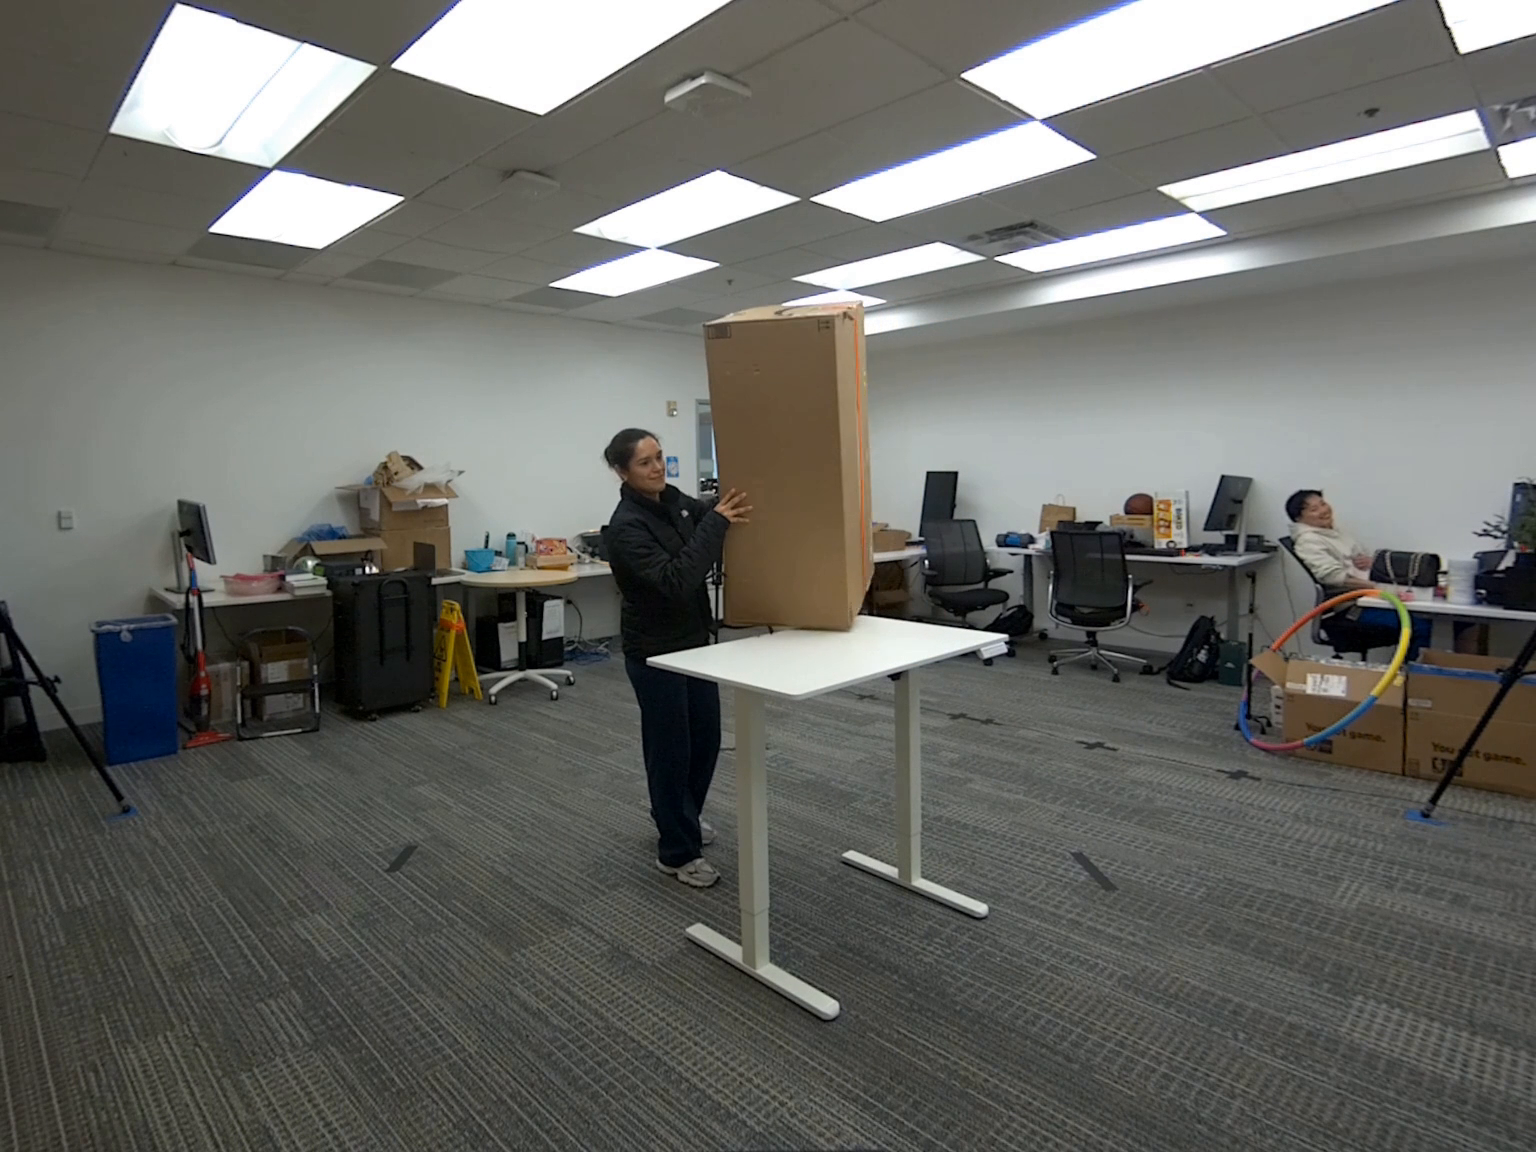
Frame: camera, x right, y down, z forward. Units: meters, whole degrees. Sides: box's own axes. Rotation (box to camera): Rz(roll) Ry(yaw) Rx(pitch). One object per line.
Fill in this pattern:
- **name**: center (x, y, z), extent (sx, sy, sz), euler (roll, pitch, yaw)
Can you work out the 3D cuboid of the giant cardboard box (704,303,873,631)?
- **giant cardboard box**: center (0.104, -0.403, 3.013), extent (0.433, 1.008, 0.578), euler (1, 19, 16)
